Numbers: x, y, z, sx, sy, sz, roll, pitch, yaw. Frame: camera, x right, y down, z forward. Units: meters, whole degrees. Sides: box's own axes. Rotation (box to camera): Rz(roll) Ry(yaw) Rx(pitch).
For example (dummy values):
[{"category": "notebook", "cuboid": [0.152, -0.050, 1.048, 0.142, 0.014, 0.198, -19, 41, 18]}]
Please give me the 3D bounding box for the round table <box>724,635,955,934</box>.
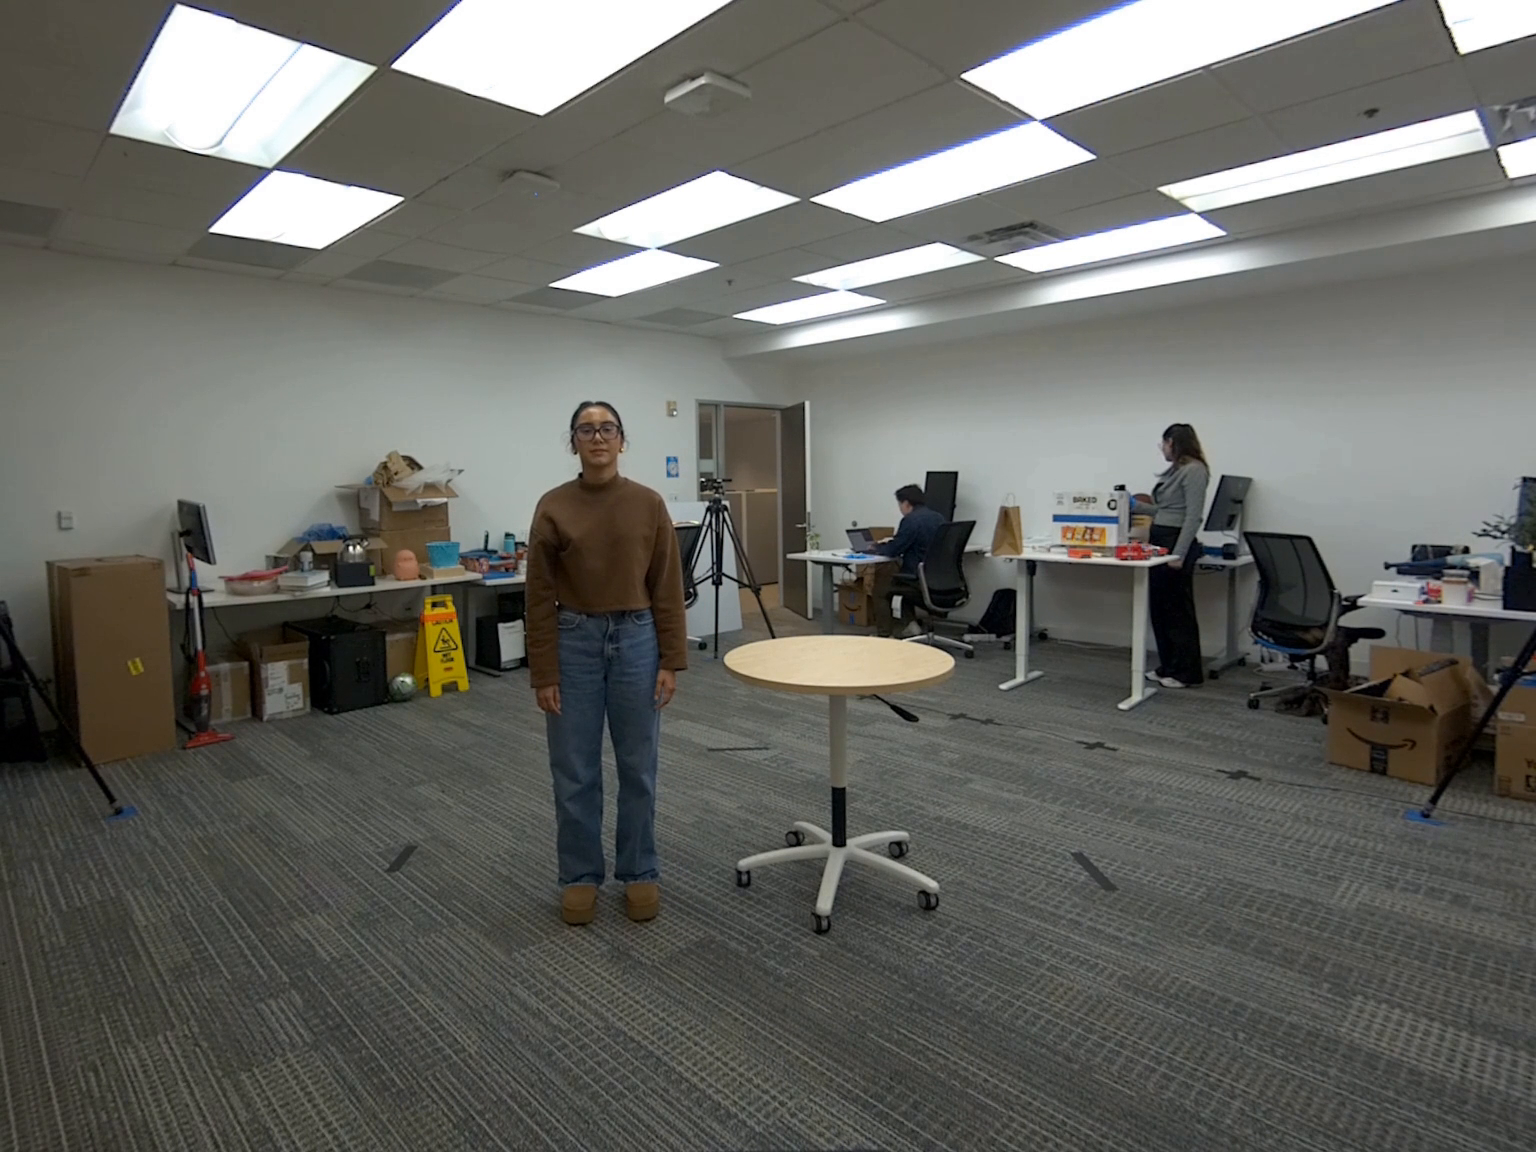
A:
[{"category": "round table", "cuboid": [0.245, 0.673, 2.907, 0.763, 0.790, 0.768, -1, 5, -2]}]
